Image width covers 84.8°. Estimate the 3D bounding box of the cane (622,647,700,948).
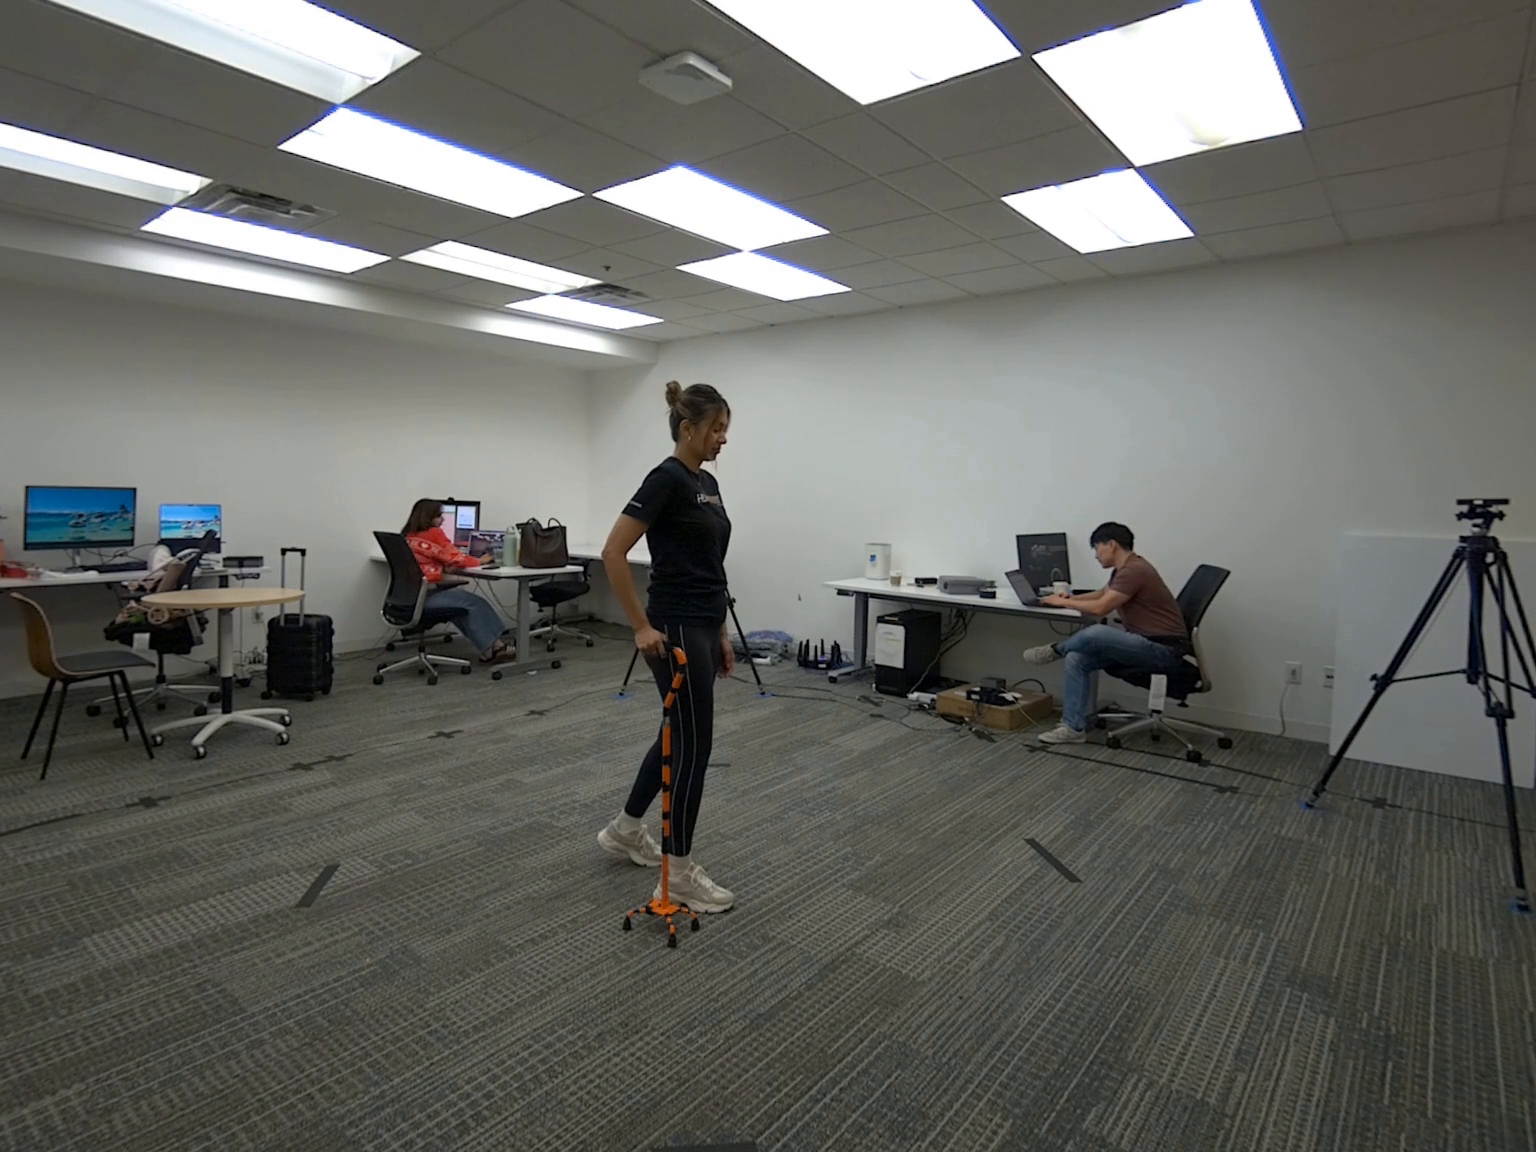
[{"bbox_3d":[-0.339,0.657,2.648,0.212,0.905,0.148,3,4,28],"label":"cane"}]
